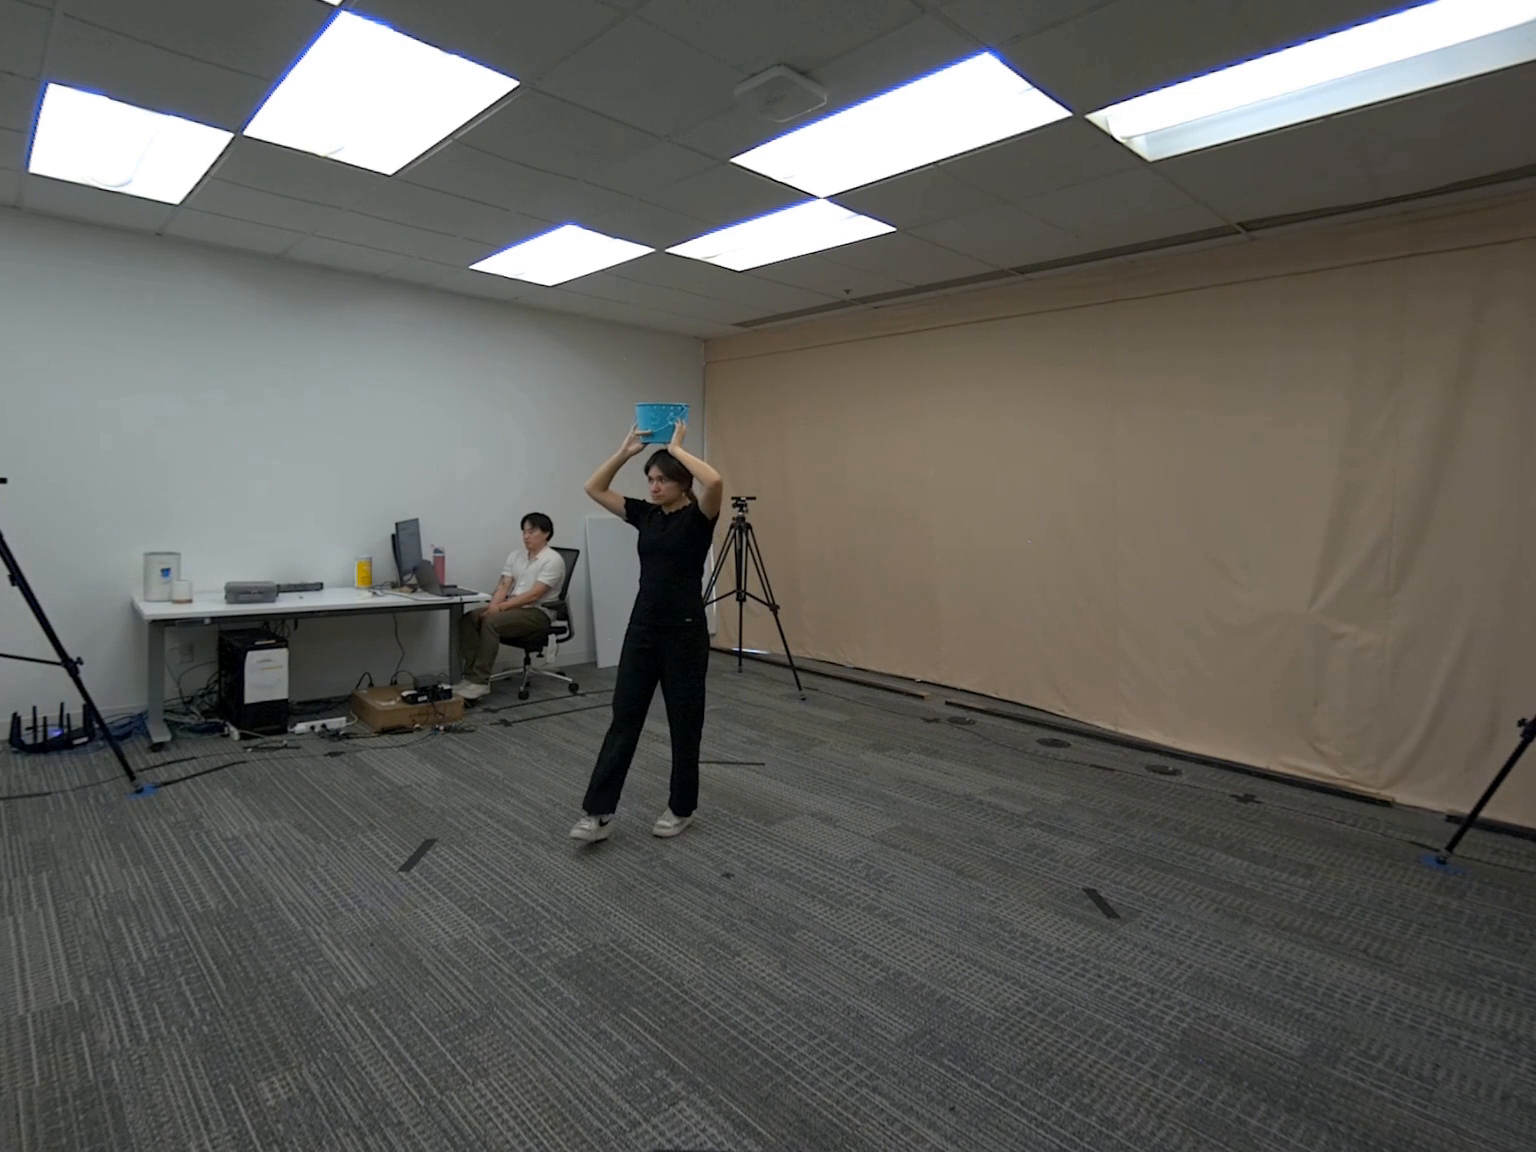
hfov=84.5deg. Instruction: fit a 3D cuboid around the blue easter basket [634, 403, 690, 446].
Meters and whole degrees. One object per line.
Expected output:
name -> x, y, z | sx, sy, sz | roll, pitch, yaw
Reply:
blue easter basket -> -0.456, -0.624, 3.437 | 0.243, 0.155, 0.244 | 2, 5, -2
